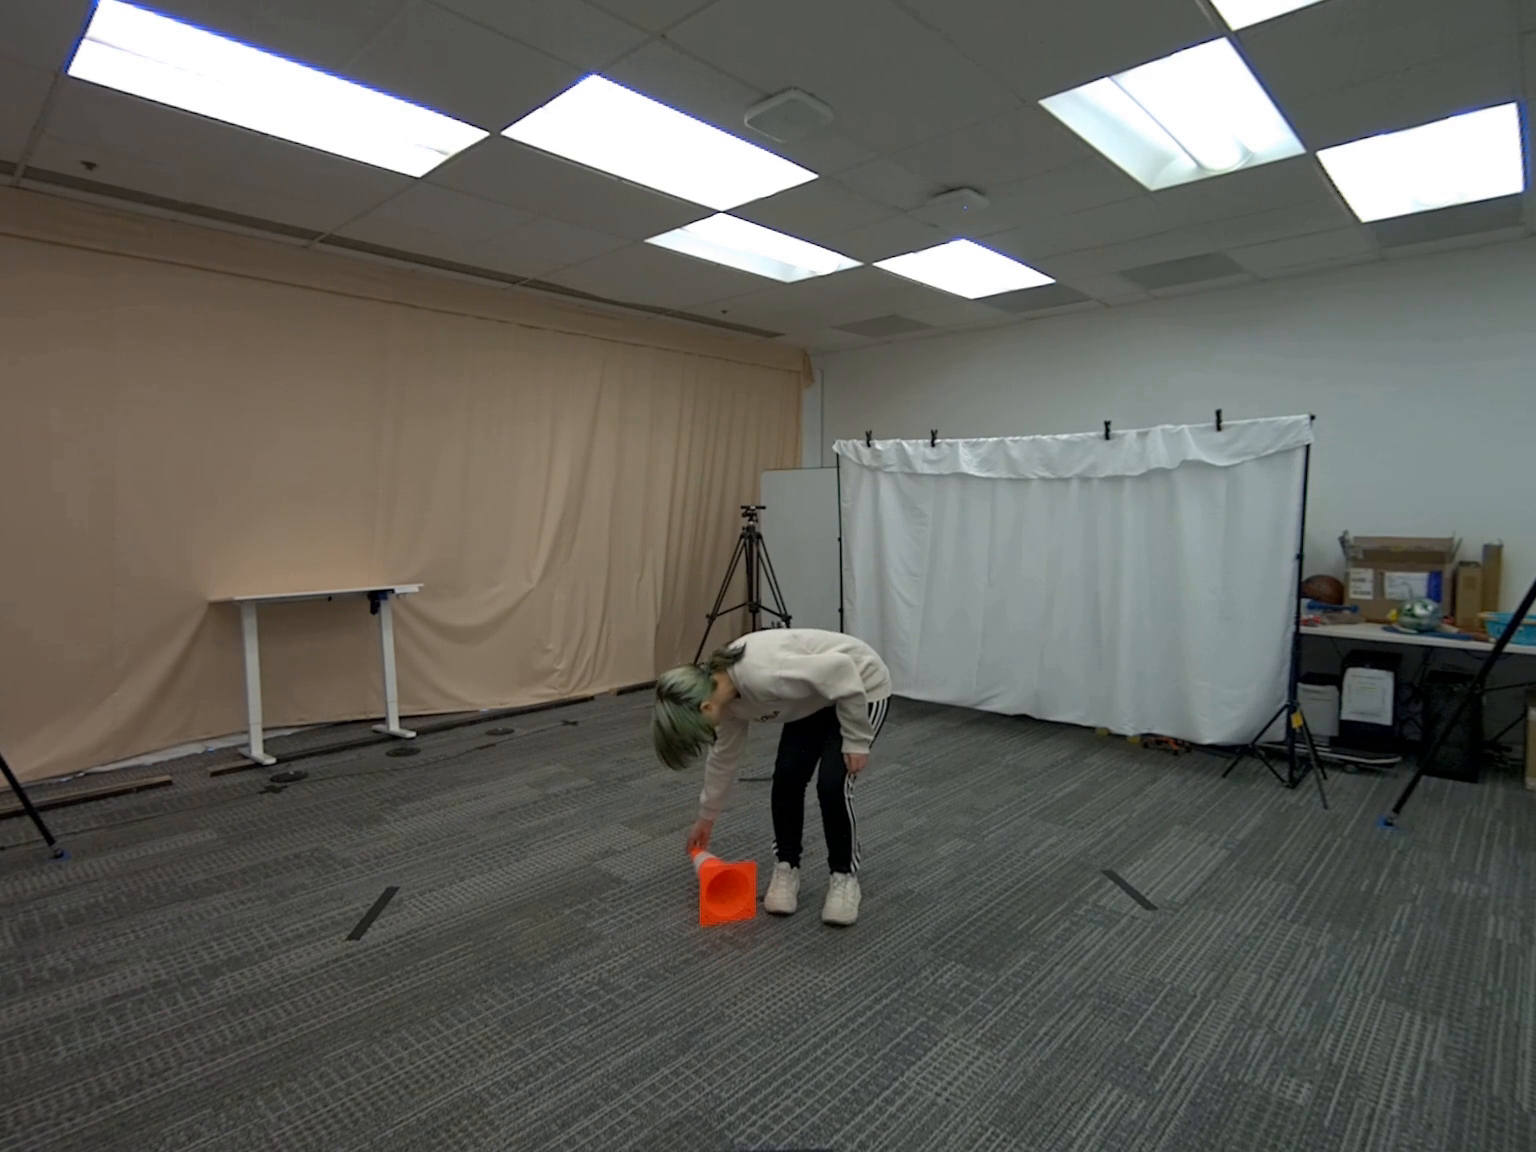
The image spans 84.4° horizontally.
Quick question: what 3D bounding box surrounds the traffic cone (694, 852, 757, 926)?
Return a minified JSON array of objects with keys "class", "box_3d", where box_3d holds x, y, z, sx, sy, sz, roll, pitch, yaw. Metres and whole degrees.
[{"class":"traffic cone","box_3d":[-0.203,1.045,2.985,0.199,0.204,0.393,0,4,-23]}]
